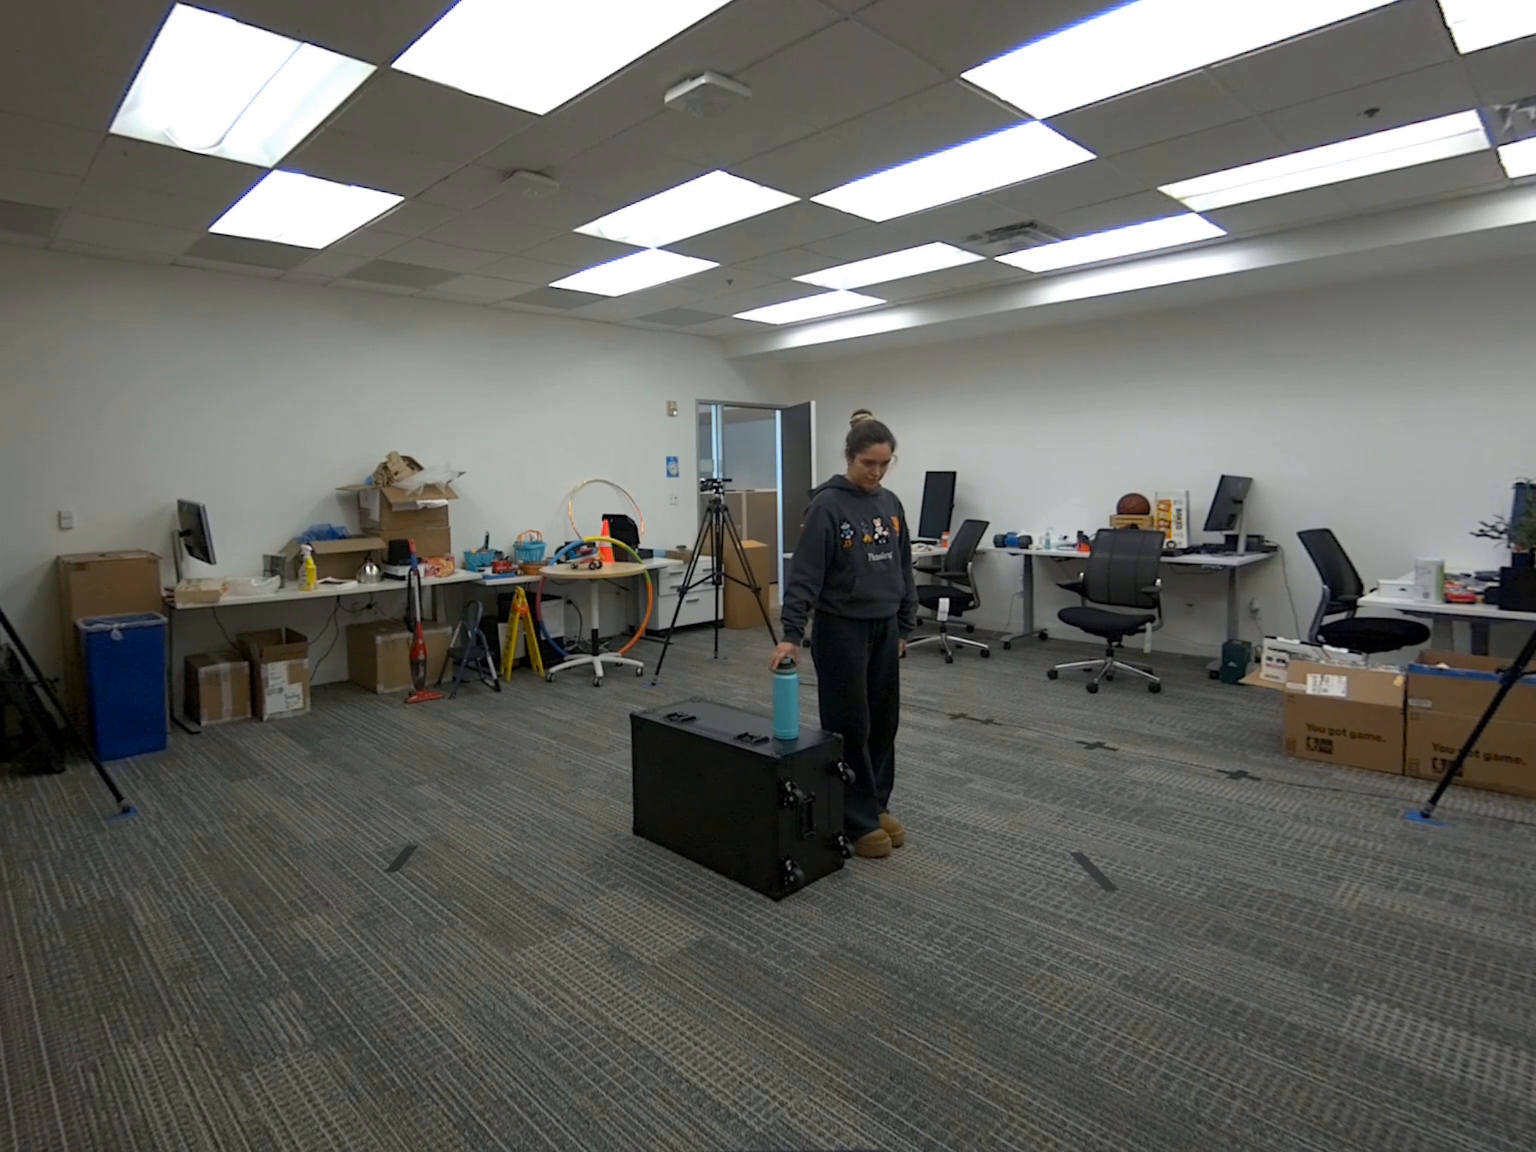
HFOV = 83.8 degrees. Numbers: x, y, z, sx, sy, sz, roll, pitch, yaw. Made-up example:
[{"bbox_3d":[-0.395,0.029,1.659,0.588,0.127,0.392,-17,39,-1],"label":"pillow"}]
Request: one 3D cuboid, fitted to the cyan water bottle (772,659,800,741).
[{"bbox_3d":[0.068,0.431,3.016,0.092,0.282,0.093,1,5,-2],"label":"cyan water bottle"}]
